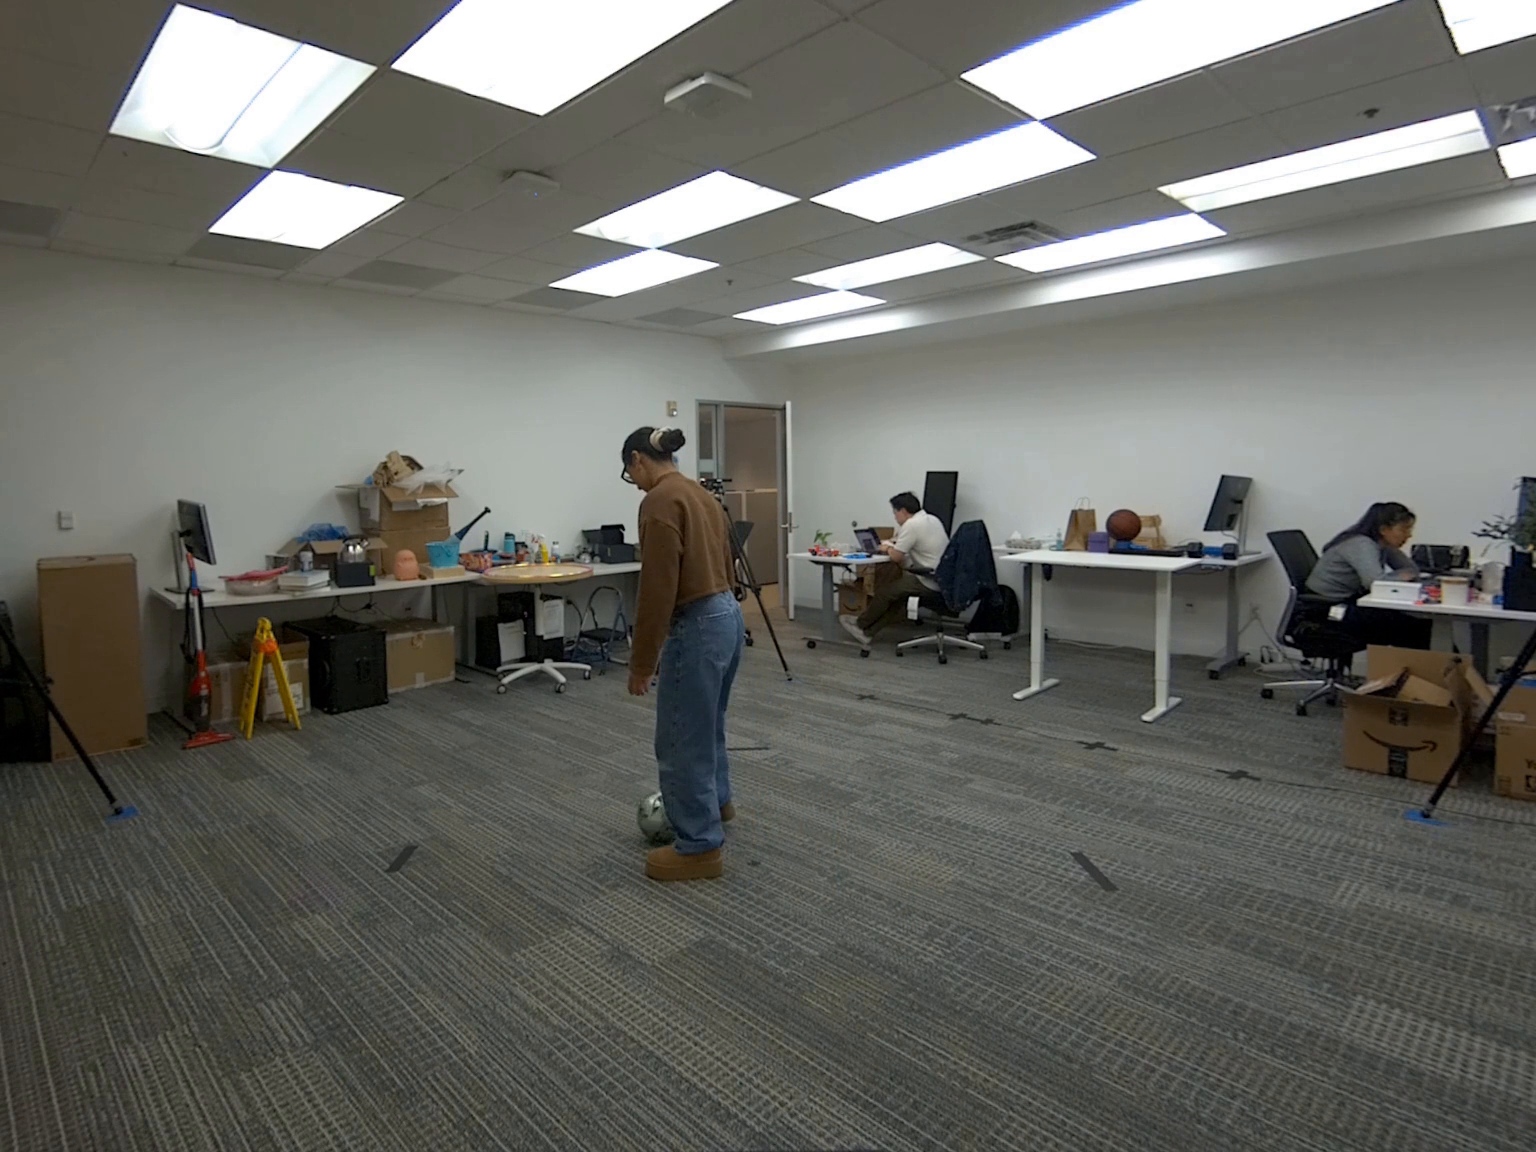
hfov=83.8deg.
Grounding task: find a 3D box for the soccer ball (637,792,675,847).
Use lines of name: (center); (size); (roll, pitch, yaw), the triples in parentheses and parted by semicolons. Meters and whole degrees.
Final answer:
soccer ball: (-0.415, 0.929, 3.315); (0.187, 0.187, 0.188); (-1, 5, -2)
